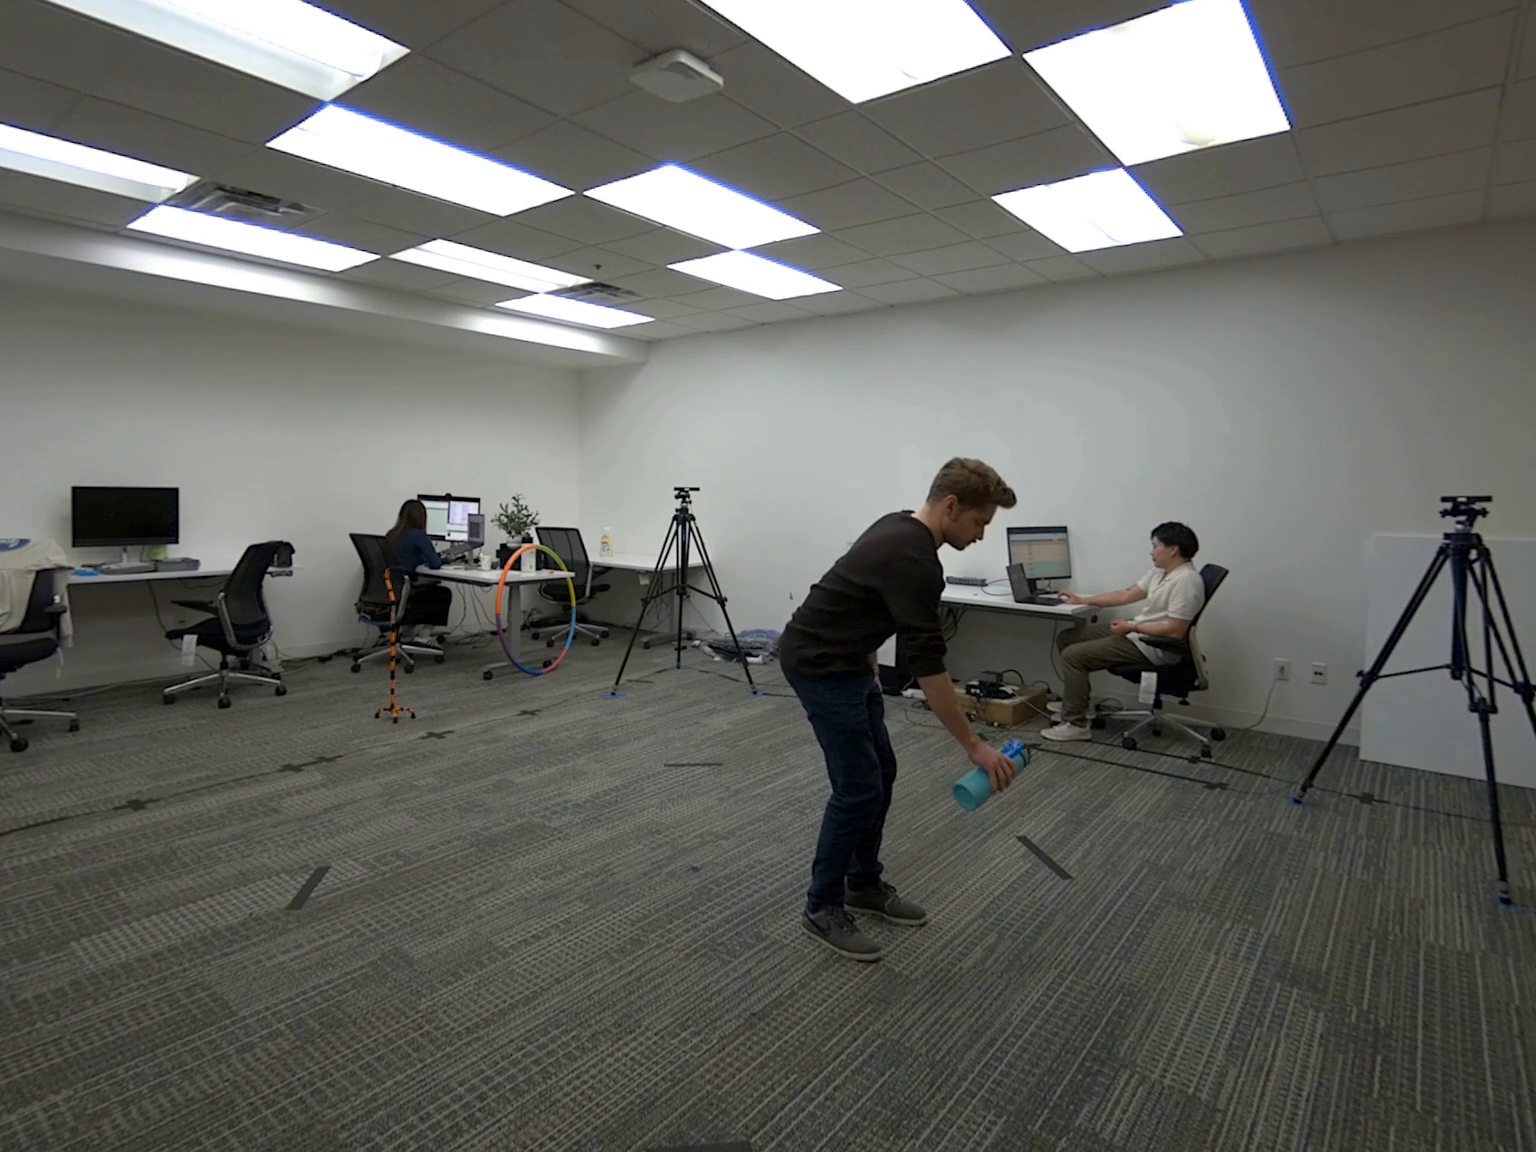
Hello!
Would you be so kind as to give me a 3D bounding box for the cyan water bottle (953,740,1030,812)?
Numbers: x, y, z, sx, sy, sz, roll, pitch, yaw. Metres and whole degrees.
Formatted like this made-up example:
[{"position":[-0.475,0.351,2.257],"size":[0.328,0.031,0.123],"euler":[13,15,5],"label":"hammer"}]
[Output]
[{"position":[0.661,0.578,2.502],"size":[0.279,0.091,0.095],"euler":[-21,14,-25],"label":"cyan water bottle"}]
